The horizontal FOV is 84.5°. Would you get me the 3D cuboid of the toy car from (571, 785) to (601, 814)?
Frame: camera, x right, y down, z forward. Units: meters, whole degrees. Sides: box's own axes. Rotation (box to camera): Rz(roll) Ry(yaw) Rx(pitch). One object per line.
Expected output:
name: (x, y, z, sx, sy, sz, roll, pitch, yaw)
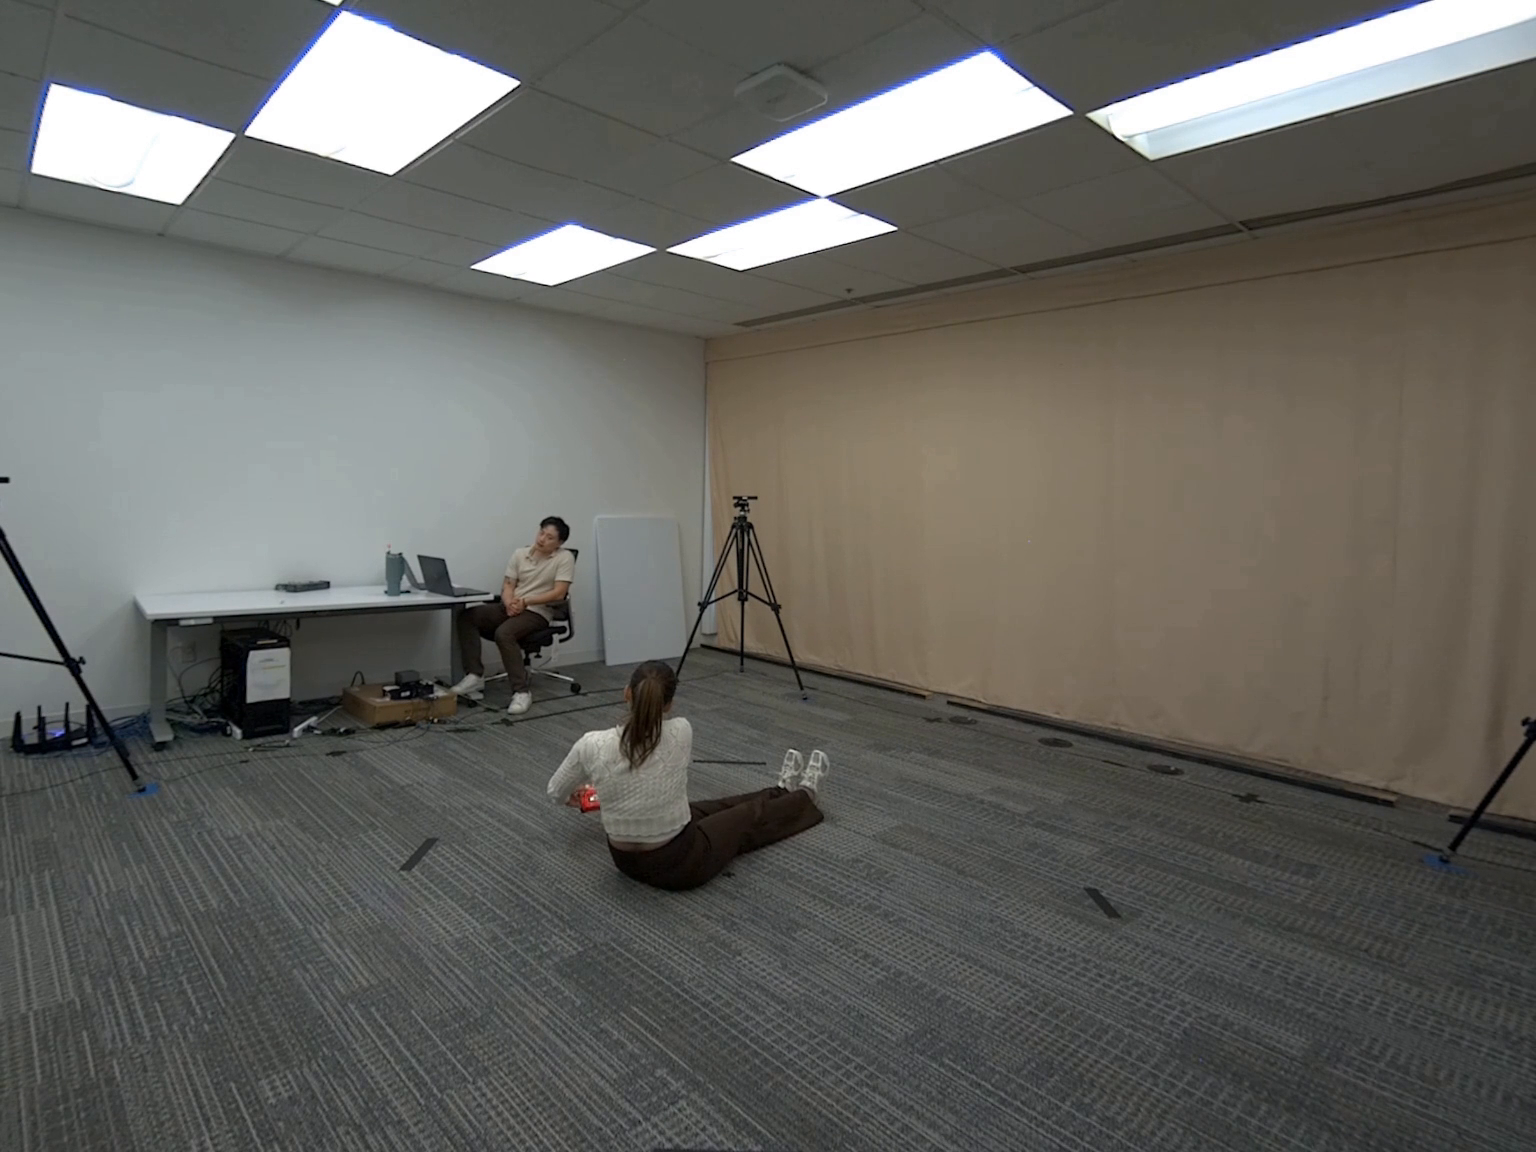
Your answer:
toy car: (-0.731, 0.911, 3.462, 0.129, 0.083, 0.257, -5, 1, -17)
